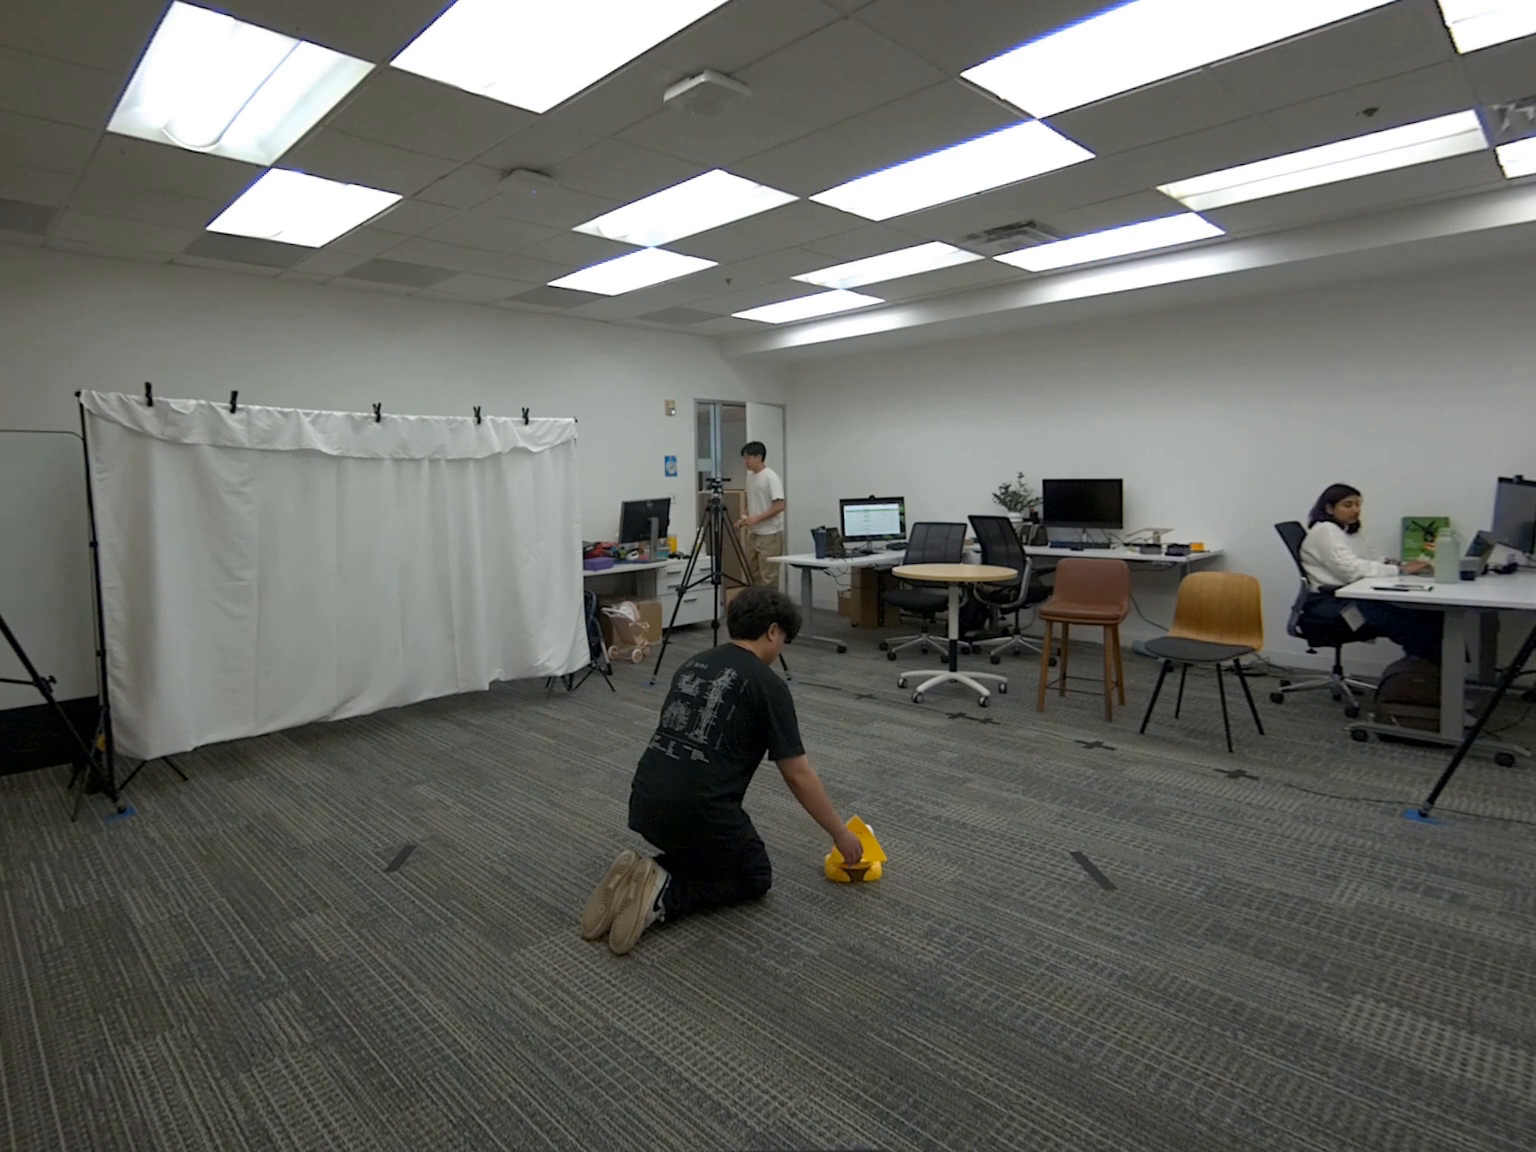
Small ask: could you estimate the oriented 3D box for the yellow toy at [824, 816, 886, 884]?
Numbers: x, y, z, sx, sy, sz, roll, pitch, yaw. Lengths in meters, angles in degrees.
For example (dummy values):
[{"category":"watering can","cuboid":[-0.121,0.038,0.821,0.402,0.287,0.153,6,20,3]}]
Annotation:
[{"category":"yellow toy","cuboid":[0.304,0.931,3.010,0.204,0.230,0.194,-2,4,-3]}]
